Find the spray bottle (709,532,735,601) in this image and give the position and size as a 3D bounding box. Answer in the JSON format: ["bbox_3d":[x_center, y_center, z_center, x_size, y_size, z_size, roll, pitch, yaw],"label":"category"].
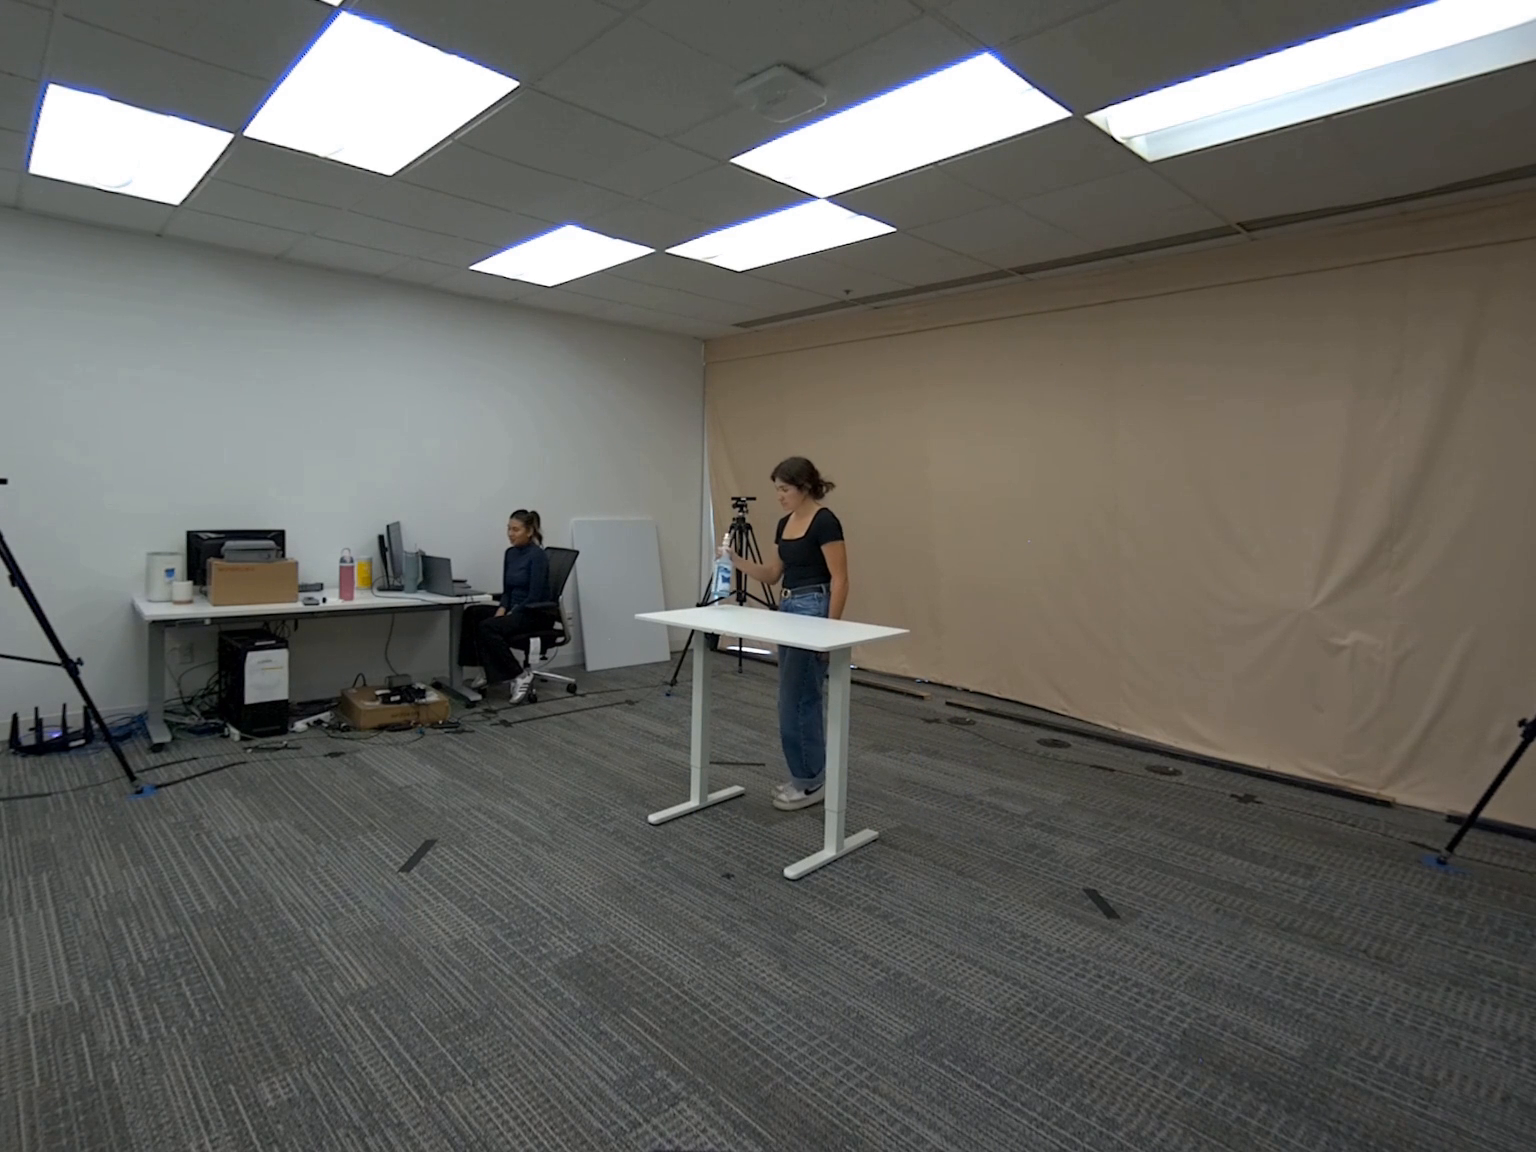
[{"bbox_3d":[-0.213,-0.052,3.910,0.089,0.298,0.088,5,-7,27],"label":"spray bottle"}]
